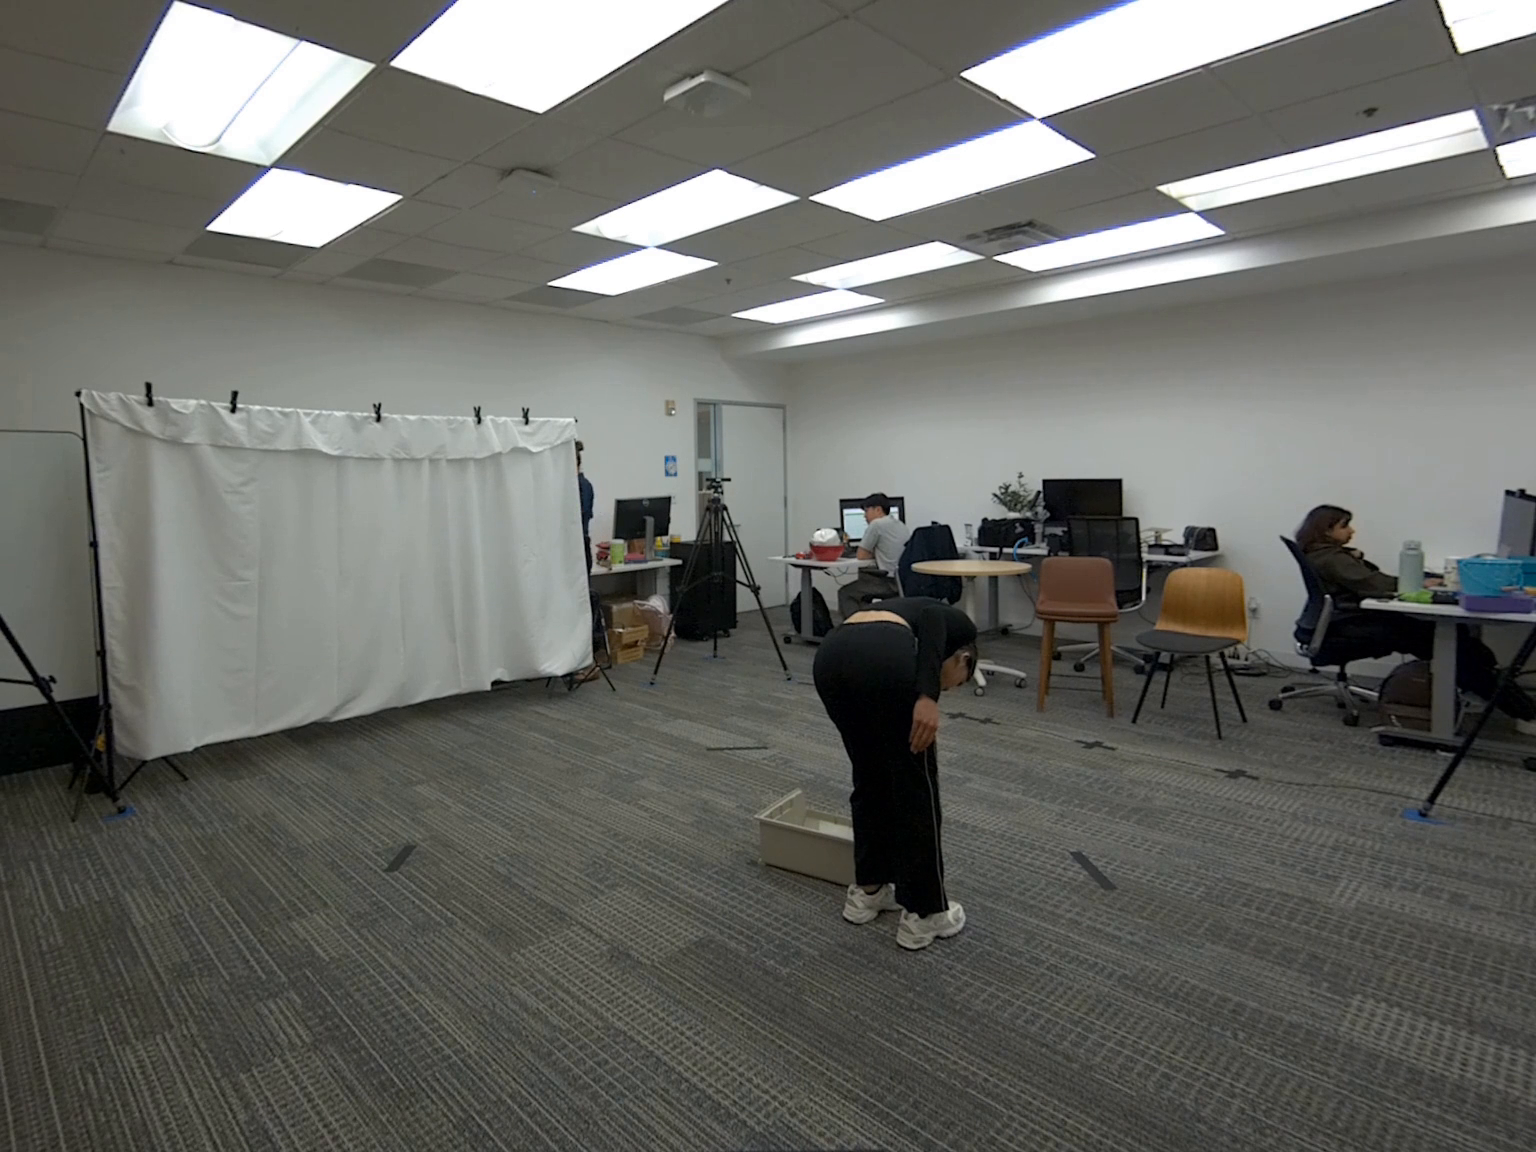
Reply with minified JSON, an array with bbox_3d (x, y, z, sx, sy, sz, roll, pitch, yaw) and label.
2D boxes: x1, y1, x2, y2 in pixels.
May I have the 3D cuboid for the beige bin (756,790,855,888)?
[{"bbox_3d":[0.228,0.949,3.120,0.434,0.188,0.369,3,8,32],"label":"beige bin"}]
